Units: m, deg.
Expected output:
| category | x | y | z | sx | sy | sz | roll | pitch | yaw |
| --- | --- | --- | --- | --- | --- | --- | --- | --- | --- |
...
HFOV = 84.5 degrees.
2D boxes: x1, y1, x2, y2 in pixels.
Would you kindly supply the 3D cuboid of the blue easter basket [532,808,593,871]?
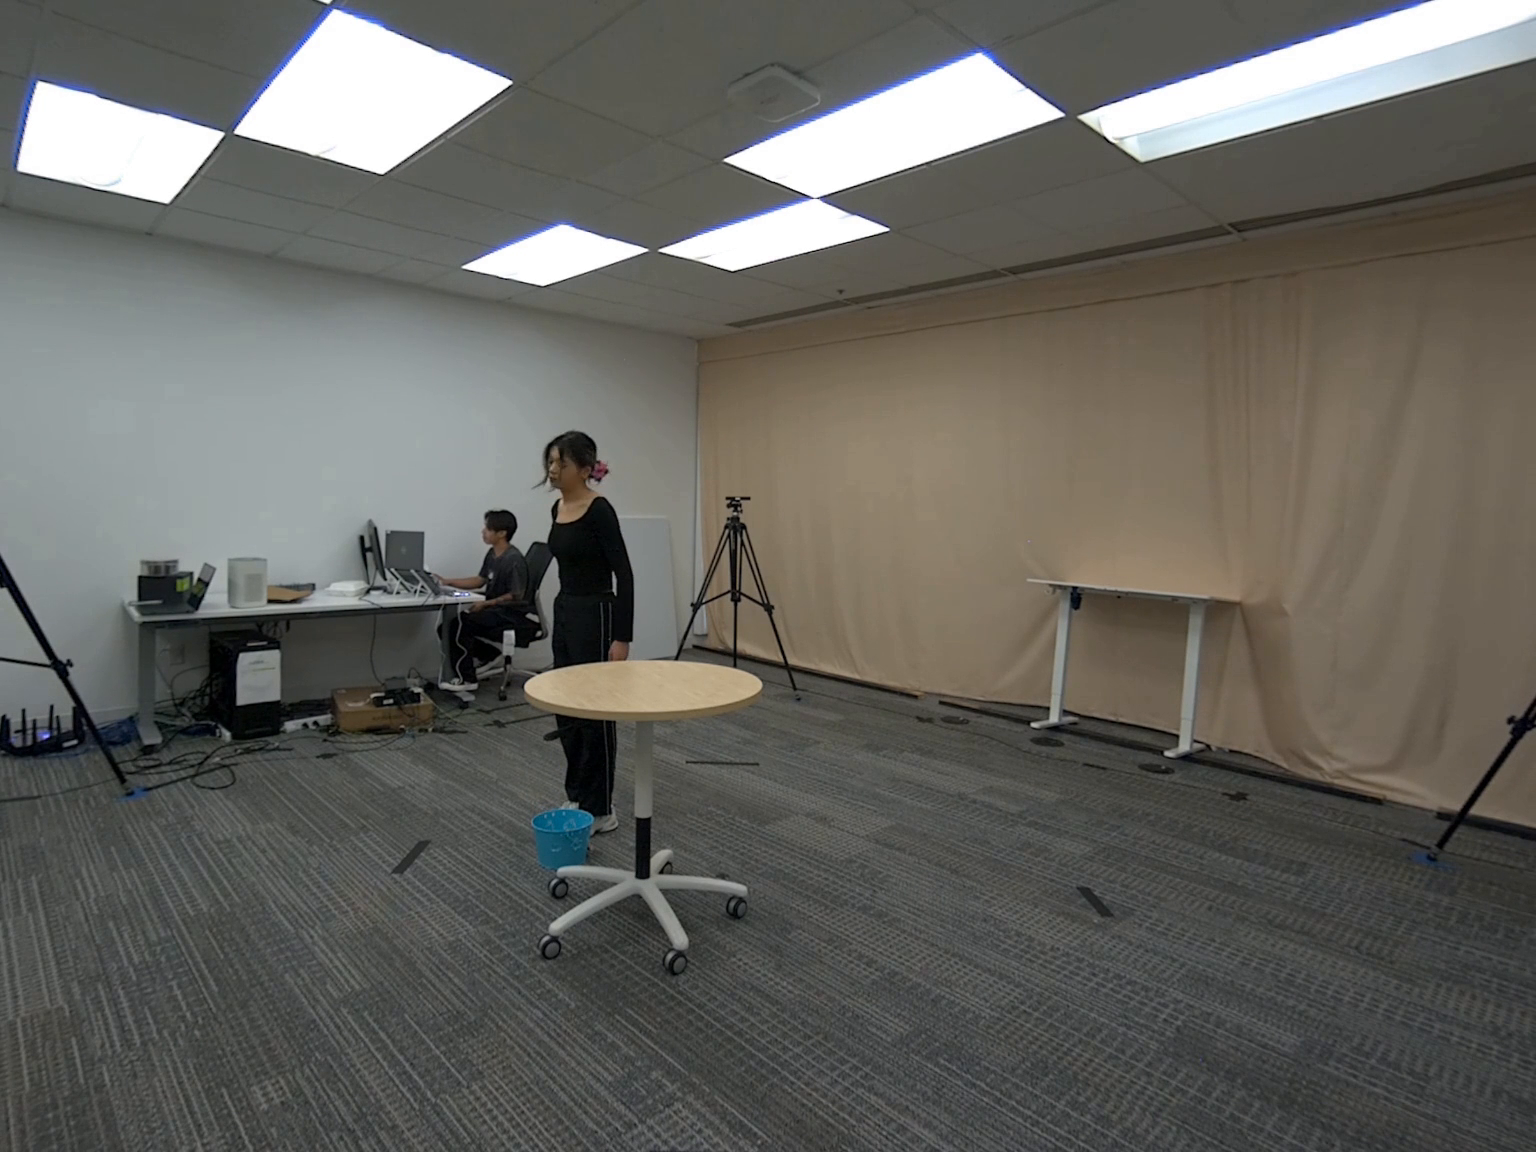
| category | x | y | z | sx | sy | sz | roll | pitch | yaw |
| --- | --- | --- | --- | --- | --- | --- | --- | --- | --- |
| blue easter basket | -0.798 | 1.009 | 3.213 | 0.243 | 0.155 | 0.244 | 1 | 5 | -1 |
